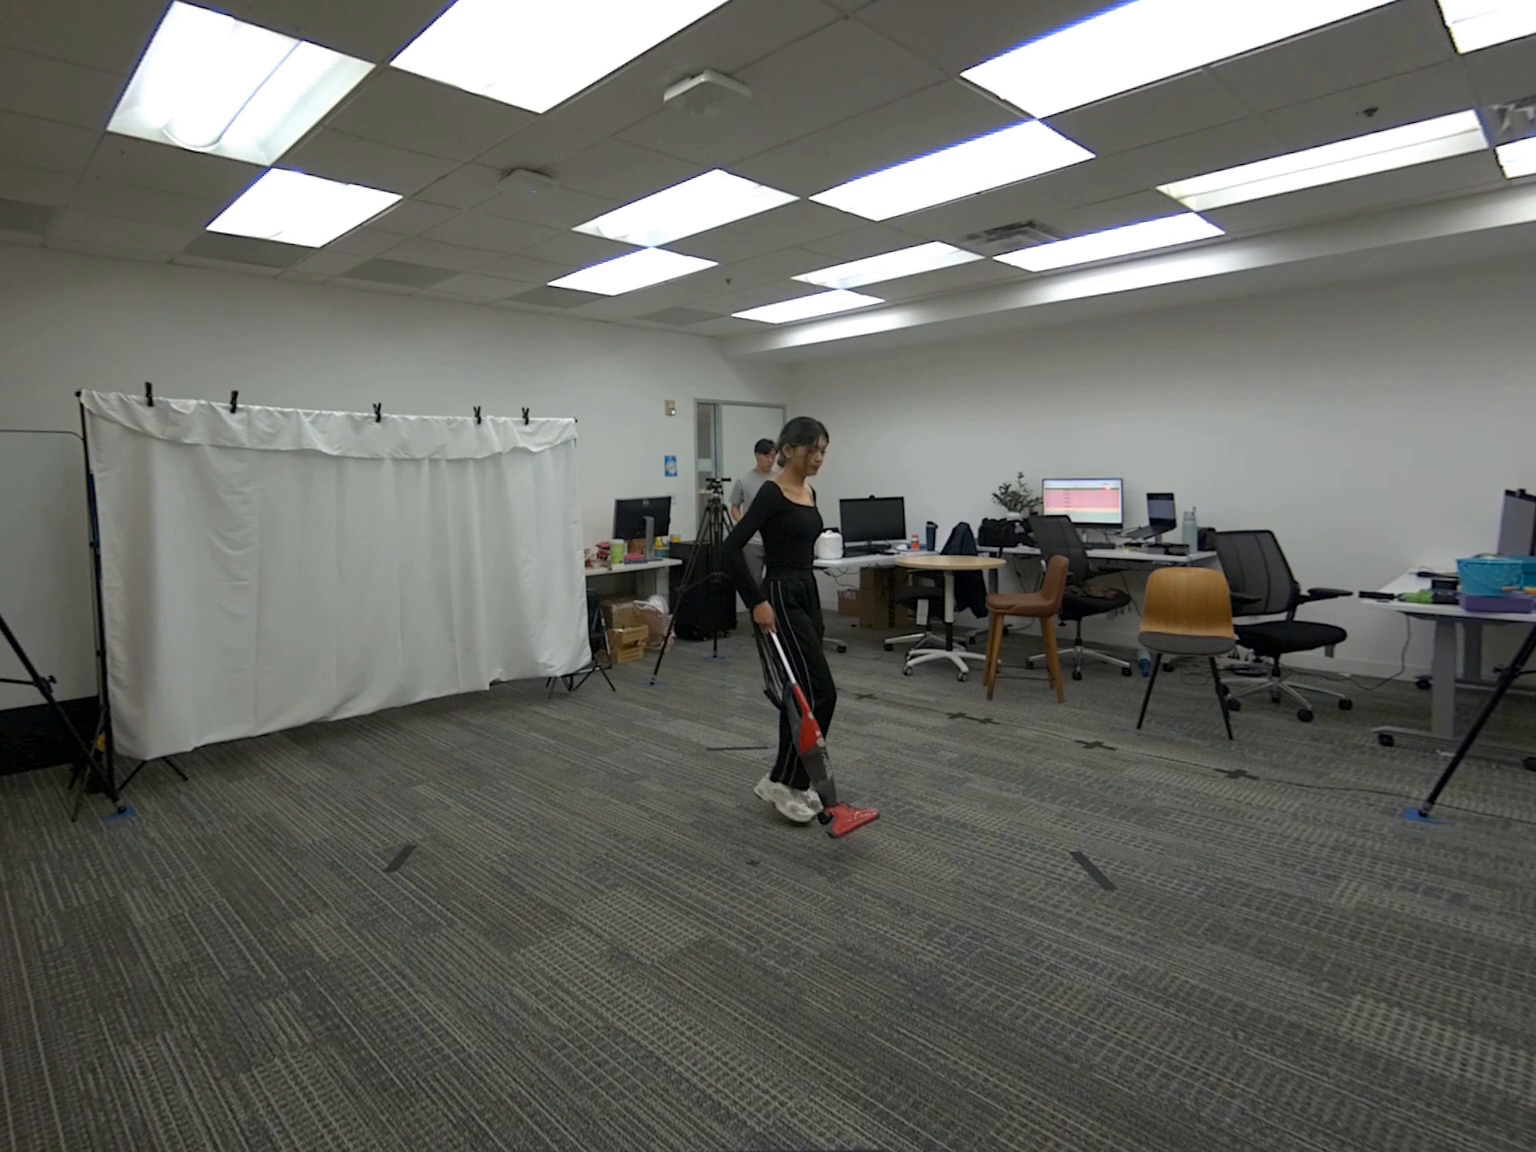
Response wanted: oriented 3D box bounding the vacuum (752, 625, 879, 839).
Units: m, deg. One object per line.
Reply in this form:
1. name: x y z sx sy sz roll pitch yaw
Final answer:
1. vacuum: 0.088 0.446 3.268 0.247 1.071 0.144 -10 -21 -38
